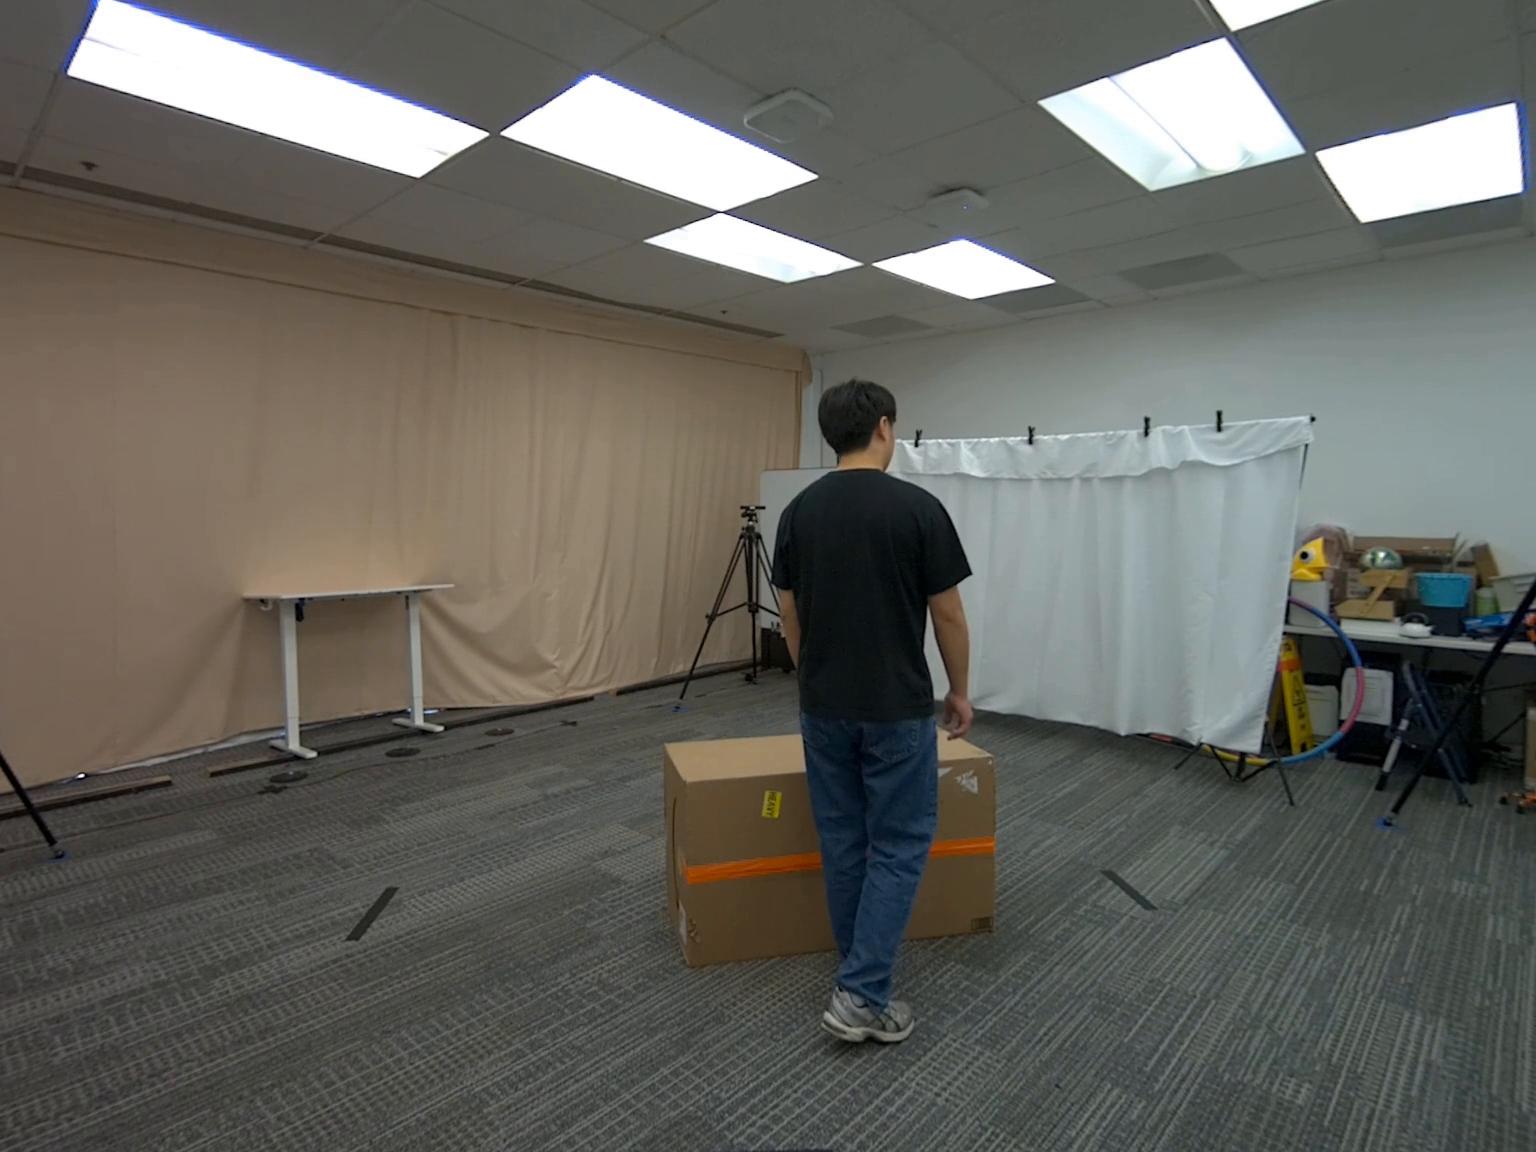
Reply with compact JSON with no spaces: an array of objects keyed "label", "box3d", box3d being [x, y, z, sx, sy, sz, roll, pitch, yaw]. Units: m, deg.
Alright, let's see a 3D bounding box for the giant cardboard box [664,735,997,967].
[{"label":"giant cardboard box","box3d":[0.190,0.867,2.831,1.013,0.582,0.454,-2,5,-13]}]
